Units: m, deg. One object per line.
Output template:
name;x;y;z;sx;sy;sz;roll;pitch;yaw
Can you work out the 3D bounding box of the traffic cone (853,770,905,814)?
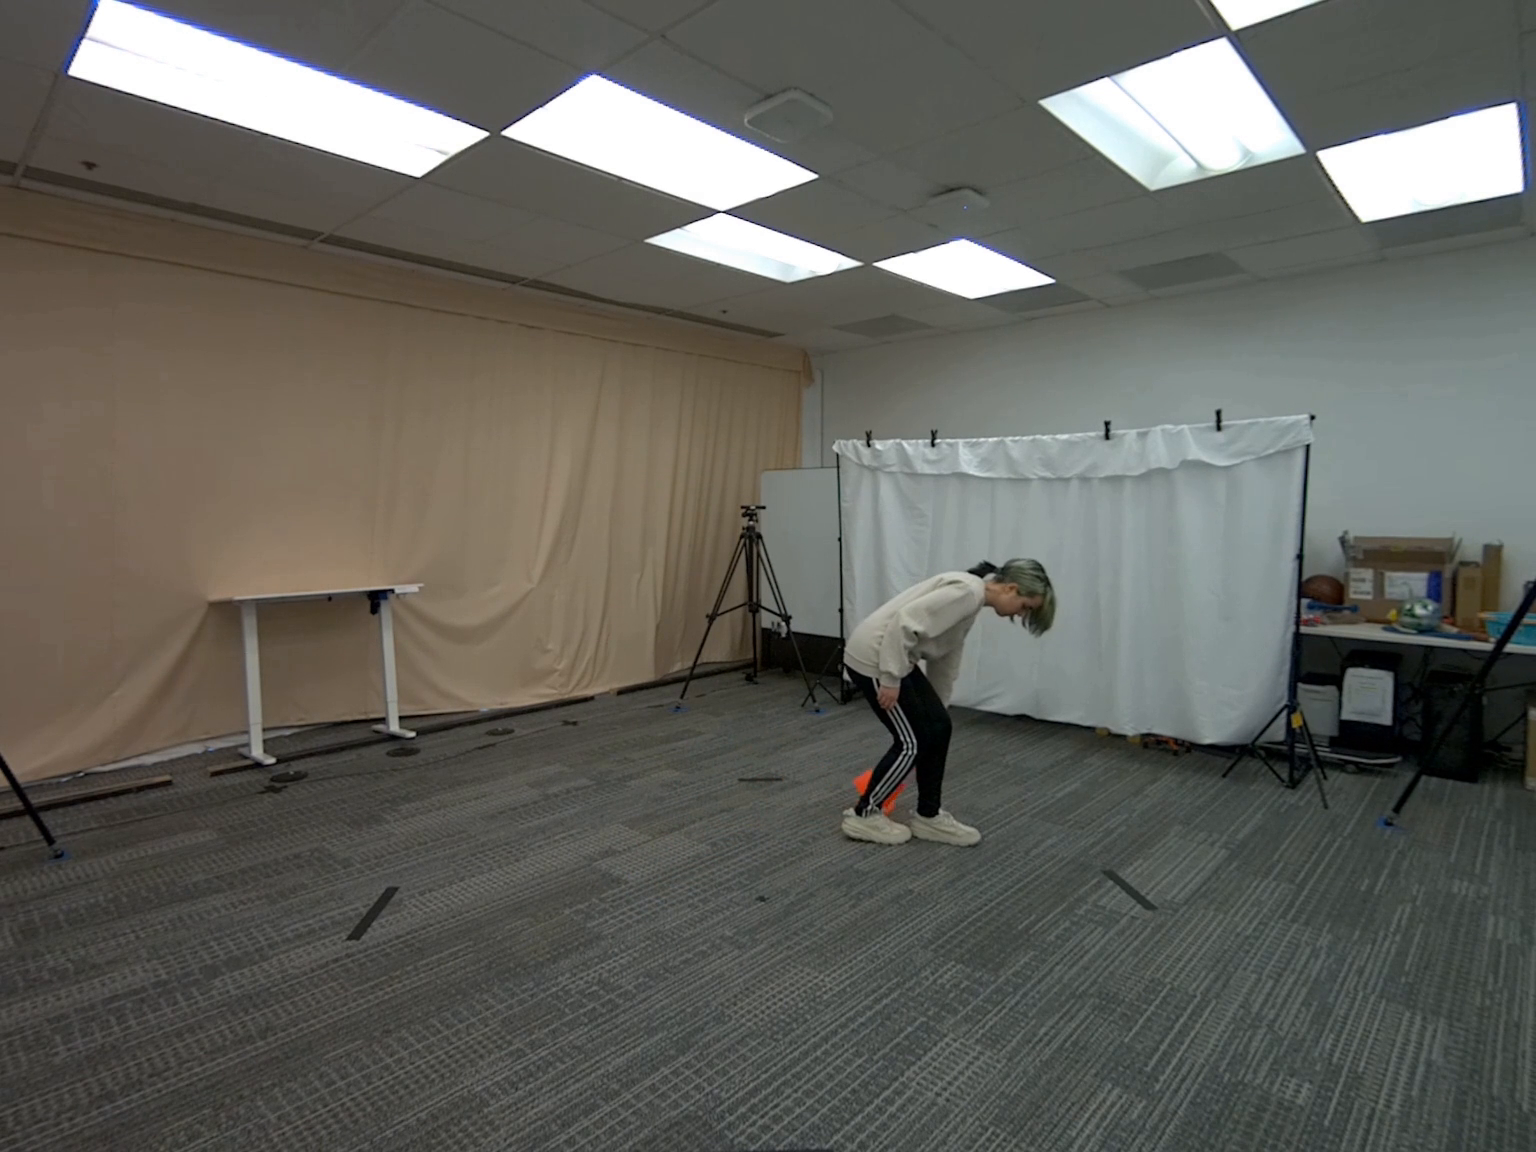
traffic cone;0.605;0.875;3.769;0.387;0.207;0.200;-43;-15;24
